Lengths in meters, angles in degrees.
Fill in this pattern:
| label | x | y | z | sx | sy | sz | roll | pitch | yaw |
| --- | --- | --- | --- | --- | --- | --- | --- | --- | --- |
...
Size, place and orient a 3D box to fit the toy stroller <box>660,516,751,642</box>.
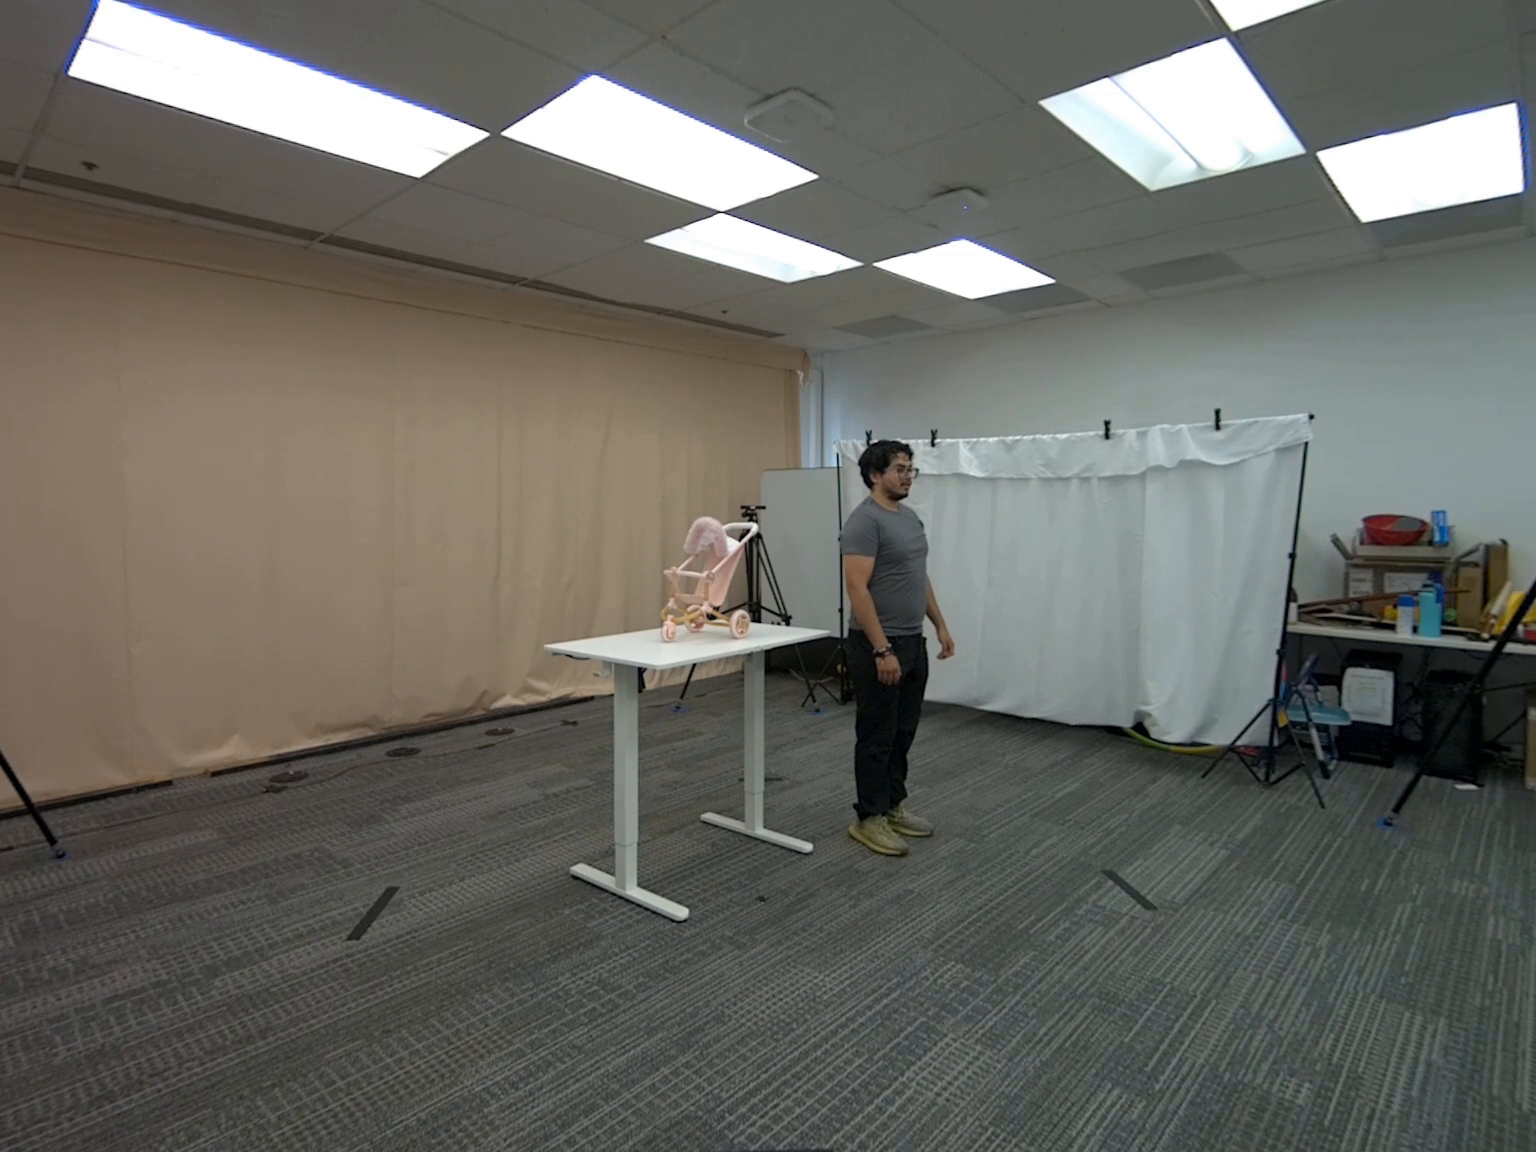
| label | x | y | z | sx | sy | sz | roll | pitch | yaw |
| --- | --- | --- | --- | --- | --- | --- | --- | --- | --- |
| toy stroller | -0.244 | 0.013 | 3.278 | 0.329 | 0.536 | 0.291 | 17 | -9 | -42 |
